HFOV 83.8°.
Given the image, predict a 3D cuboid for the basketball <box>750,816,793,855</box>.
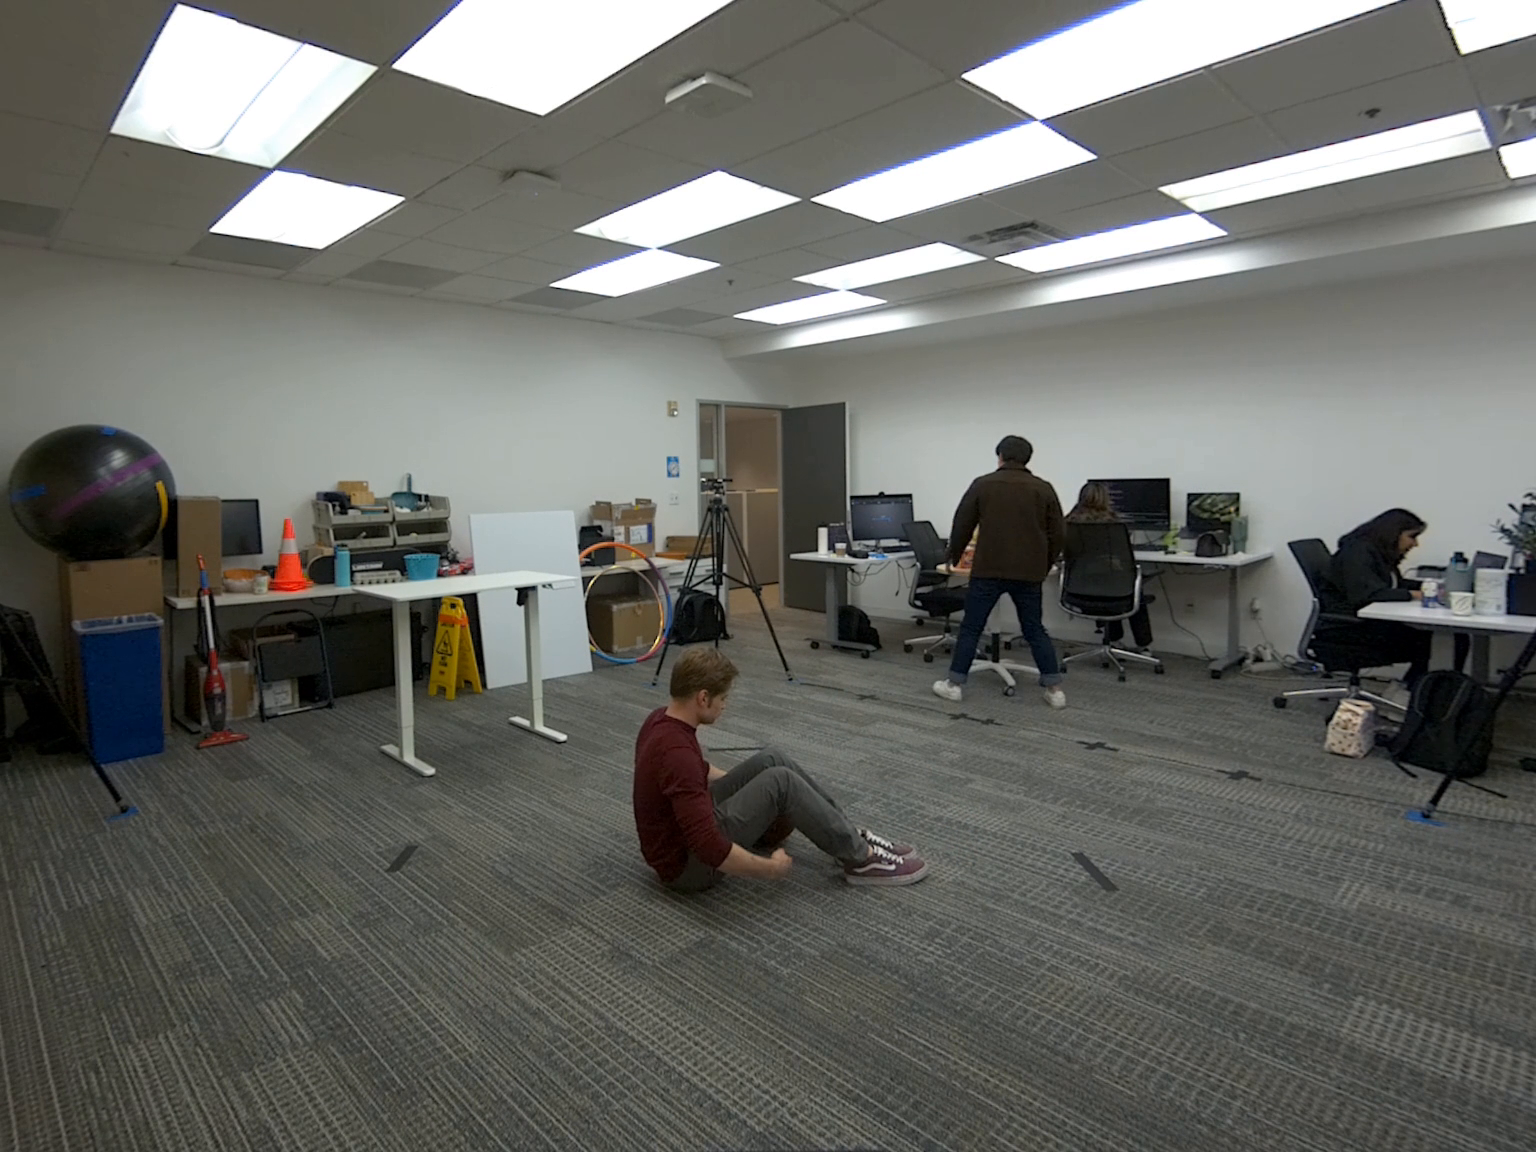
[{"bbox_3d":[-0.001,0.895,3.287,0.236,0.235,0.237,-1,5,-2],"label":"basketball"}]
